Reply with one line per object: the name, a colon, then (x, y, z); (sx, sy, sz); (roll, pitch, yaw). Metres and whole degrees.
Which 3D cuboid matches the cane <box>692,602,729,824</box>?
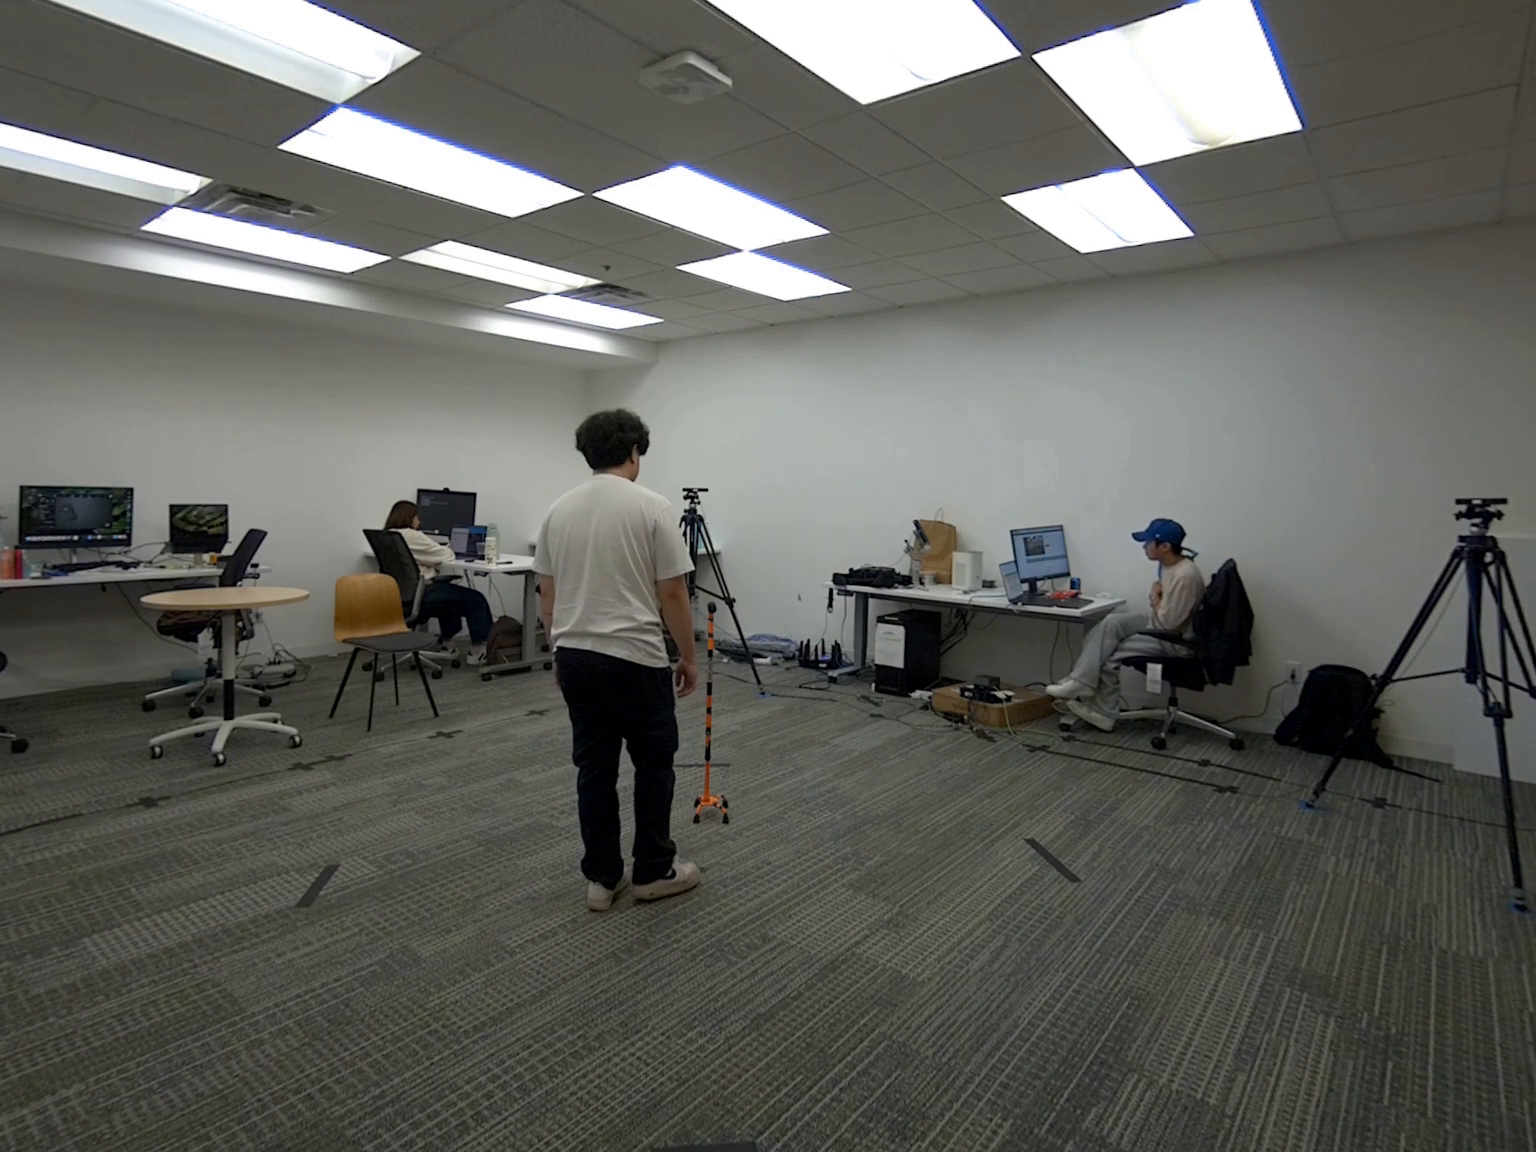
cane: (-0.246, 0.569, 3.621); (0.151, 0.906, 0.207); (1, 2, -4)
